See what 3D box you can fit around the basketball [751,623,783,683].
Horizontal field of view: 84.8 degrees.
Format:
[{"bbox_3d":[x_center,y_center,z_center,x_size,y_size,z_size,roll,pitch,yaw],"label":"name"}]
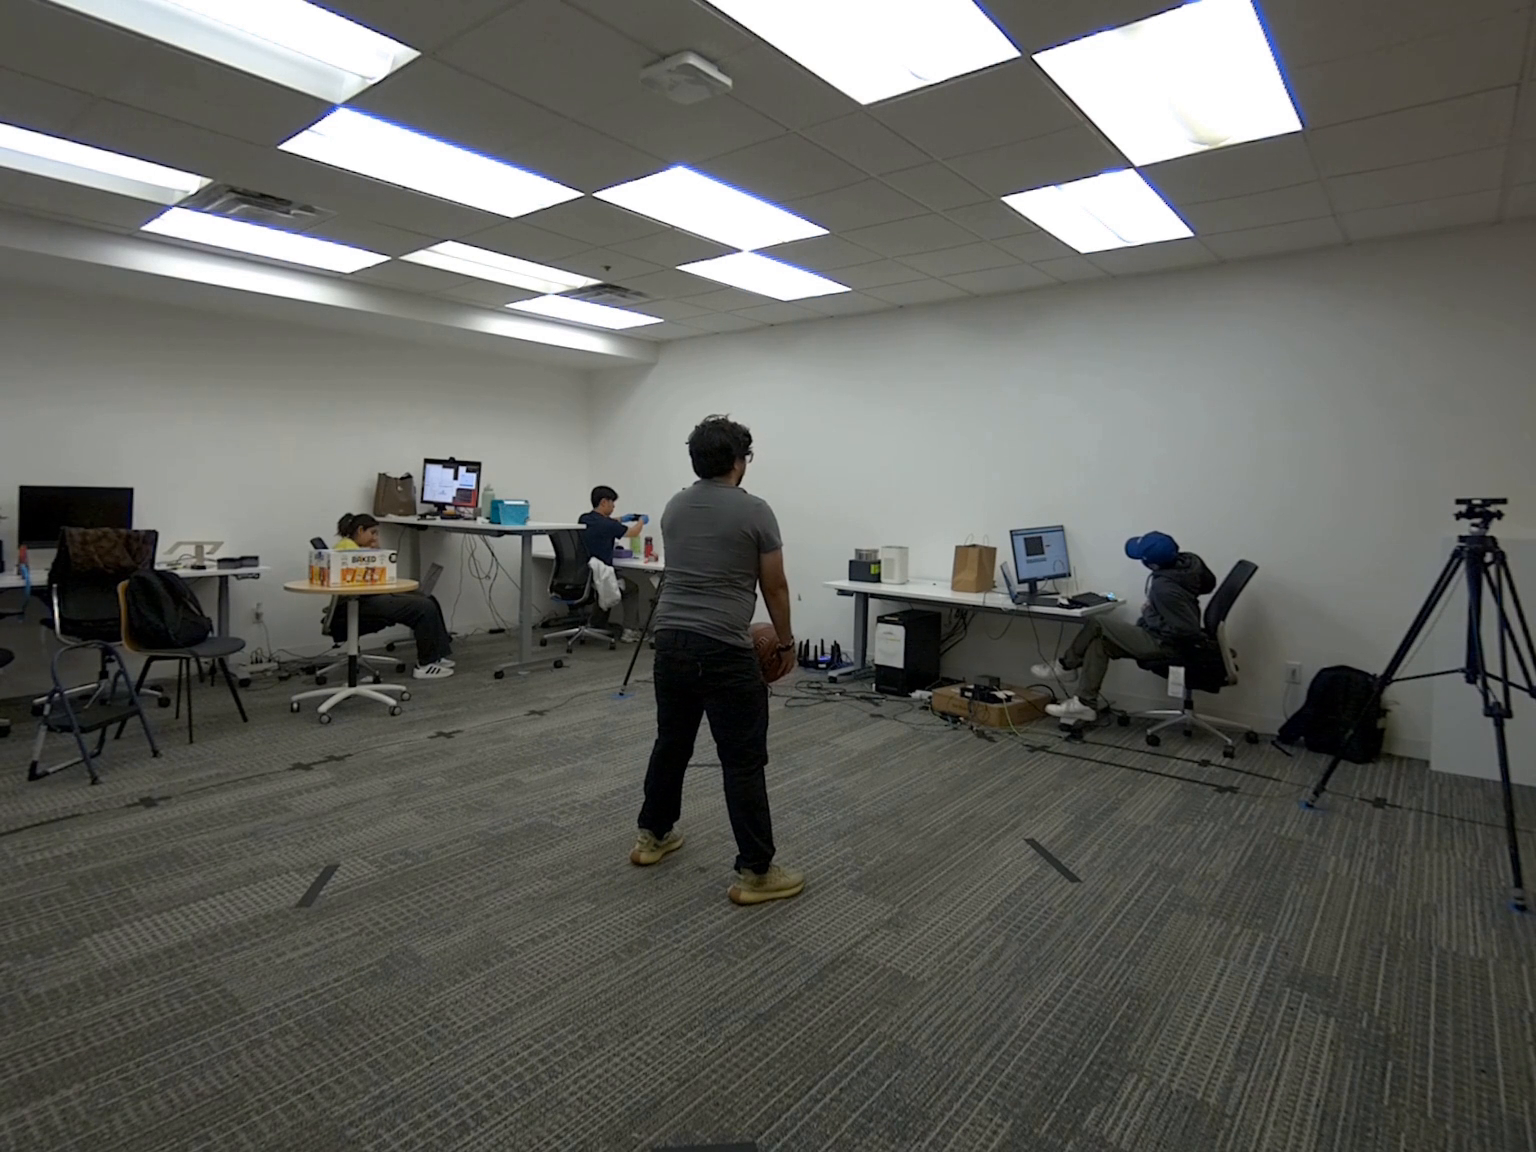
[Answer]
[{"bbox_3d":[-0.031,0.292,3.289,0.235,0.235,0.237,1,4,-2],"label":"basketball"}]
